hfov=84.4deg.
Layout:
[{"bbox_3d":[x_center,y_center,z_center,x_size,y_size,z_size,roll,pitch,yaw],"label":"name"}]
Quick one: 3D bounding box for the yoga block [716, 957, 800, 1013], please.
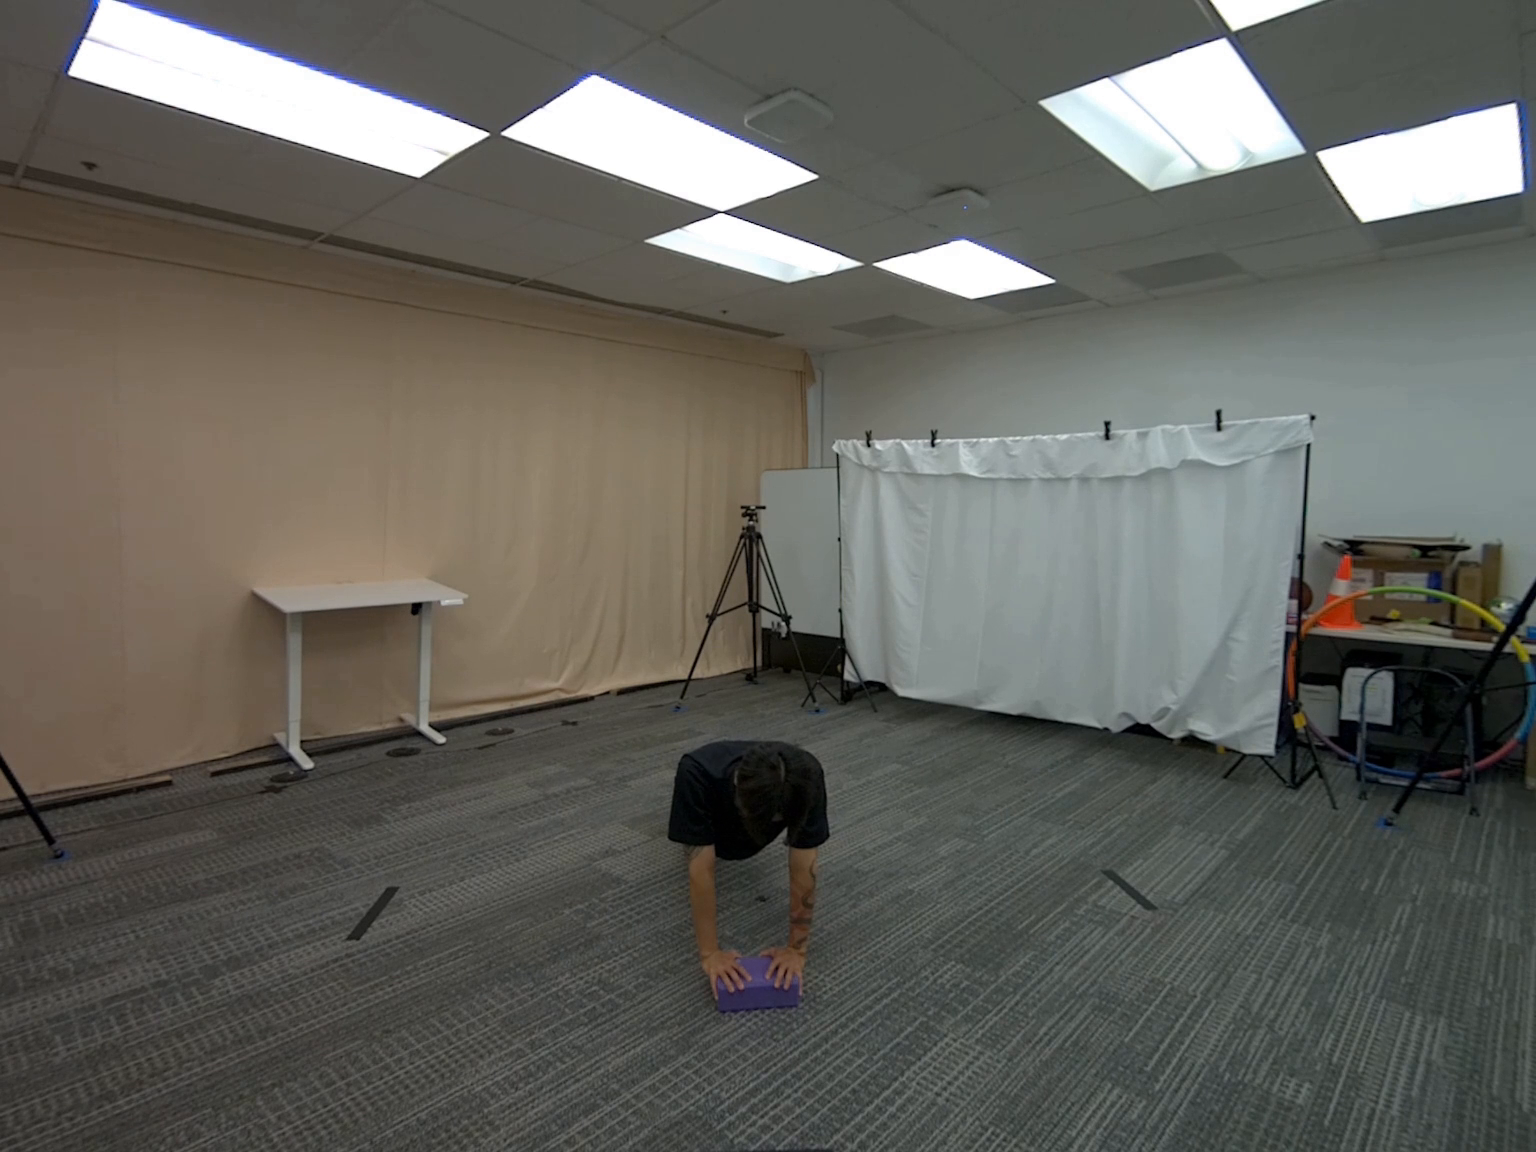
[{"bbox_3d":[-0.040,1.150,2.394,0.227,0.076,0.151,0,4,-9],"label":"yoga block"}]
